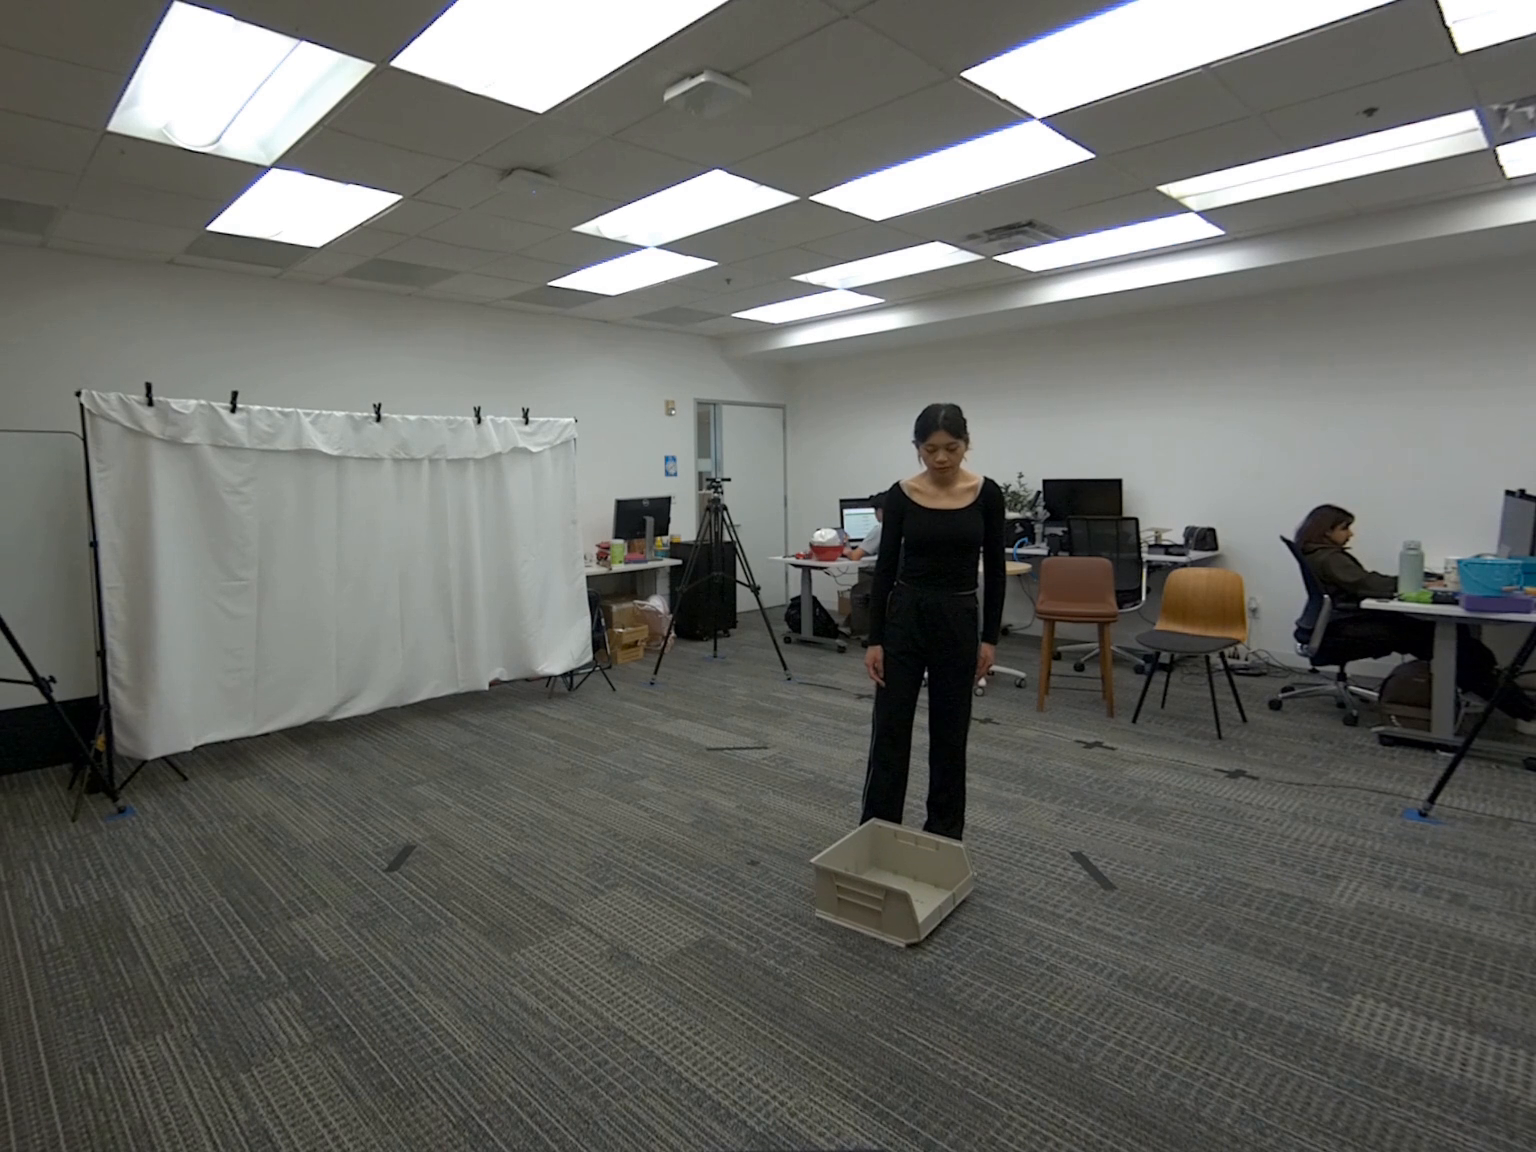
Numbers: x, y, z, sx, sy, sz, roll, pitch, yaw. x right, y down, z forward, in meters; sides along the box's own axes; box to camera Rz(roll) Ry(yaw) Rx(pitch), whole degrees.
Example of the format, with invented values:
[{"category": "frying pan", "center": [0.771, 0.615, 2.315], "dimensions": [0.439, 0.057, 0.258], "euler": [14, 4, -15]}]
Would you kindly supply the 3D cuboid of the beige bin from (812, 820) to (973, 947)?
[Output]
[{"category": "beige bin", "center": [0.412, 0.986, 2.765], "dimensions": [0.388, 0.188, 0.412], "euler": [2, 7, 37]}]
